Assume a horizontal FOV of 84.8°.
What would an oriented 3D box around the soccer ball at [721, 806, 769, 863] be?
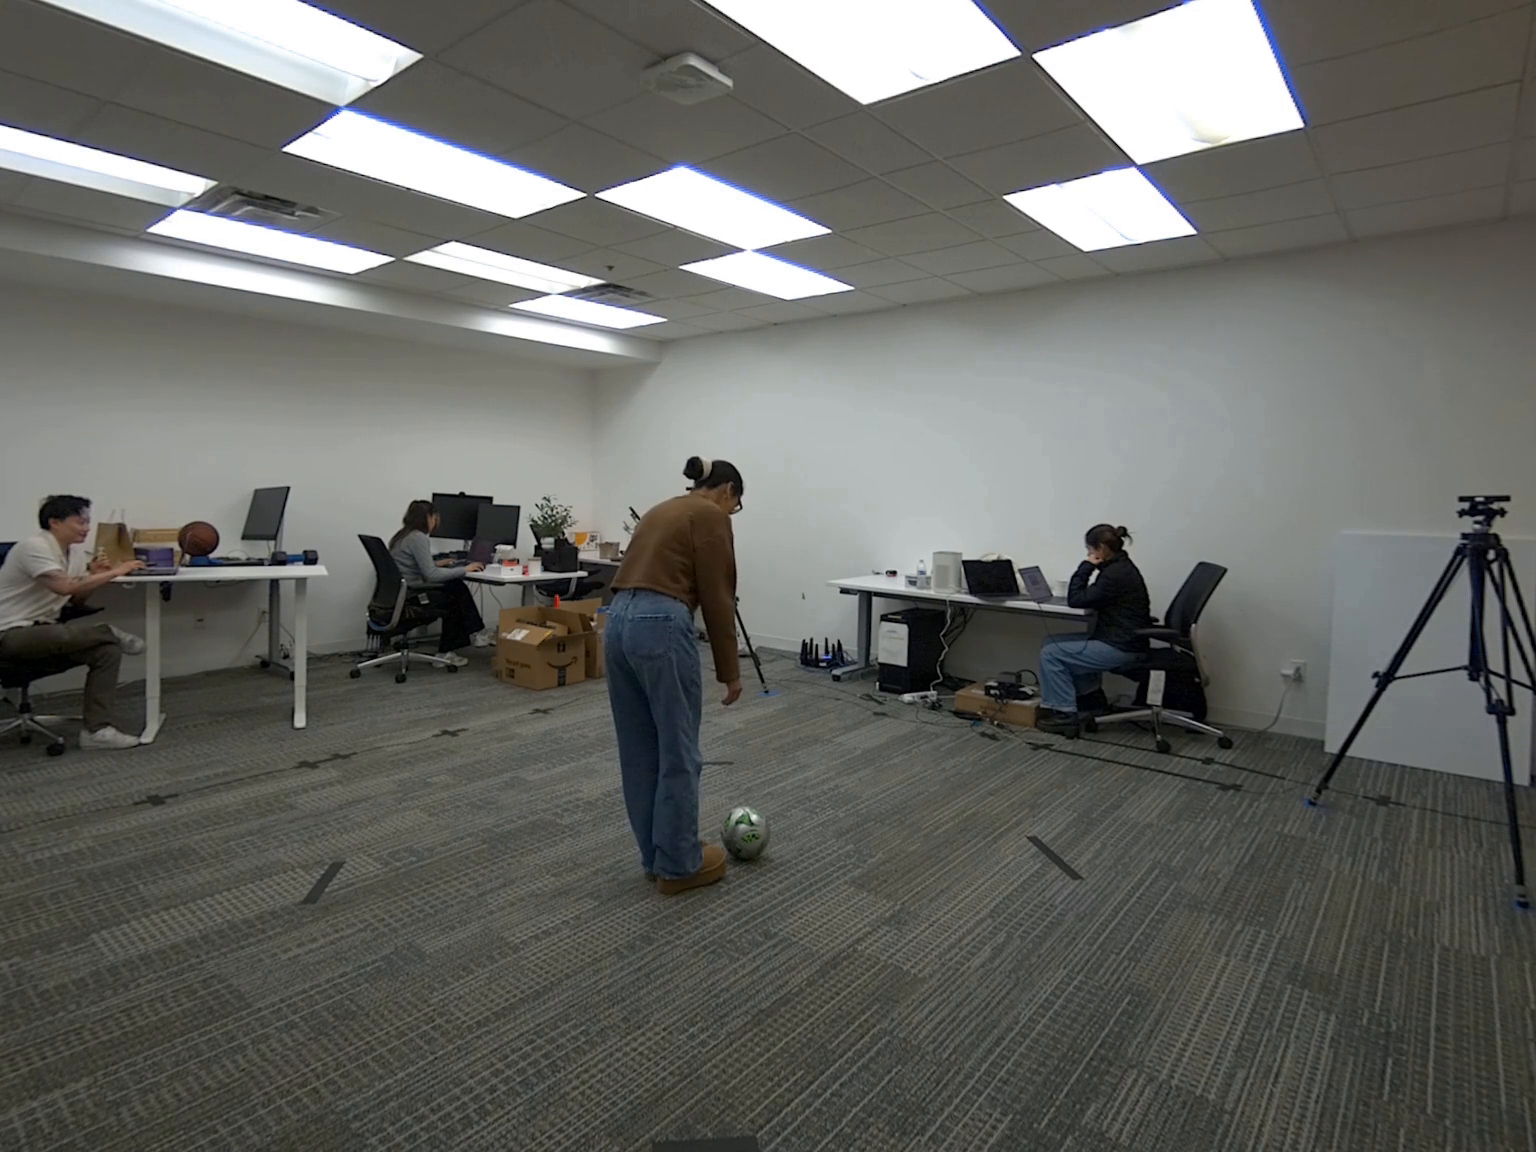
[{"bbox_3d":[-0.097,0.959,3.206,0.187,0.187,0.188,1,4,-2],"label":"soccer ball"}]
